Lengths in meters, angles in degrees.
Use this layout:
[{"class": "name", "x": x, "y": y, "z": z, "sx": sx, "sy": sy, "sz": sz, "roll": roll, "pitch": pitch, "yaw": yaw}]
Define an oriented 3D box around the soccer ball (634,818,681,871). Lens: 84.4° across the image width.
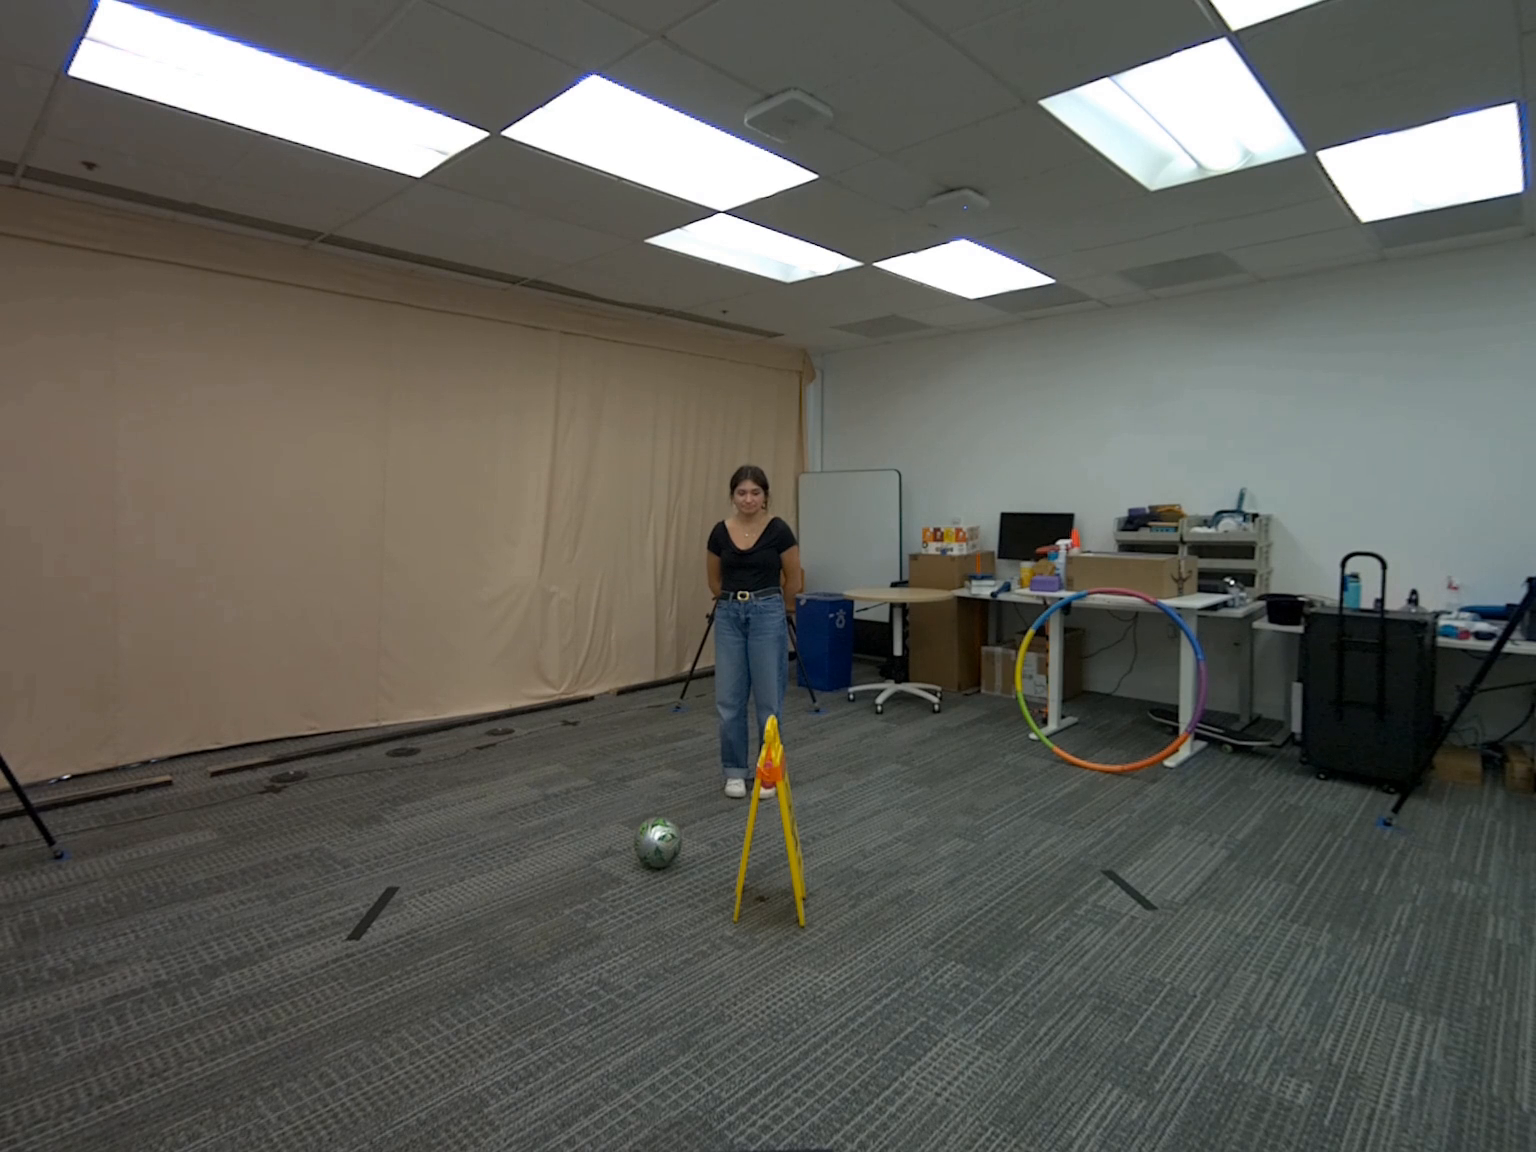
[{"class": "soccer ball", "x": -0.416, "y": 1.030, "z": 3.256, "sx": 0.187, "sy": 0.187, "sz": 0.188, "roll": 0, "pitch": 4, "yaw": -2}]
